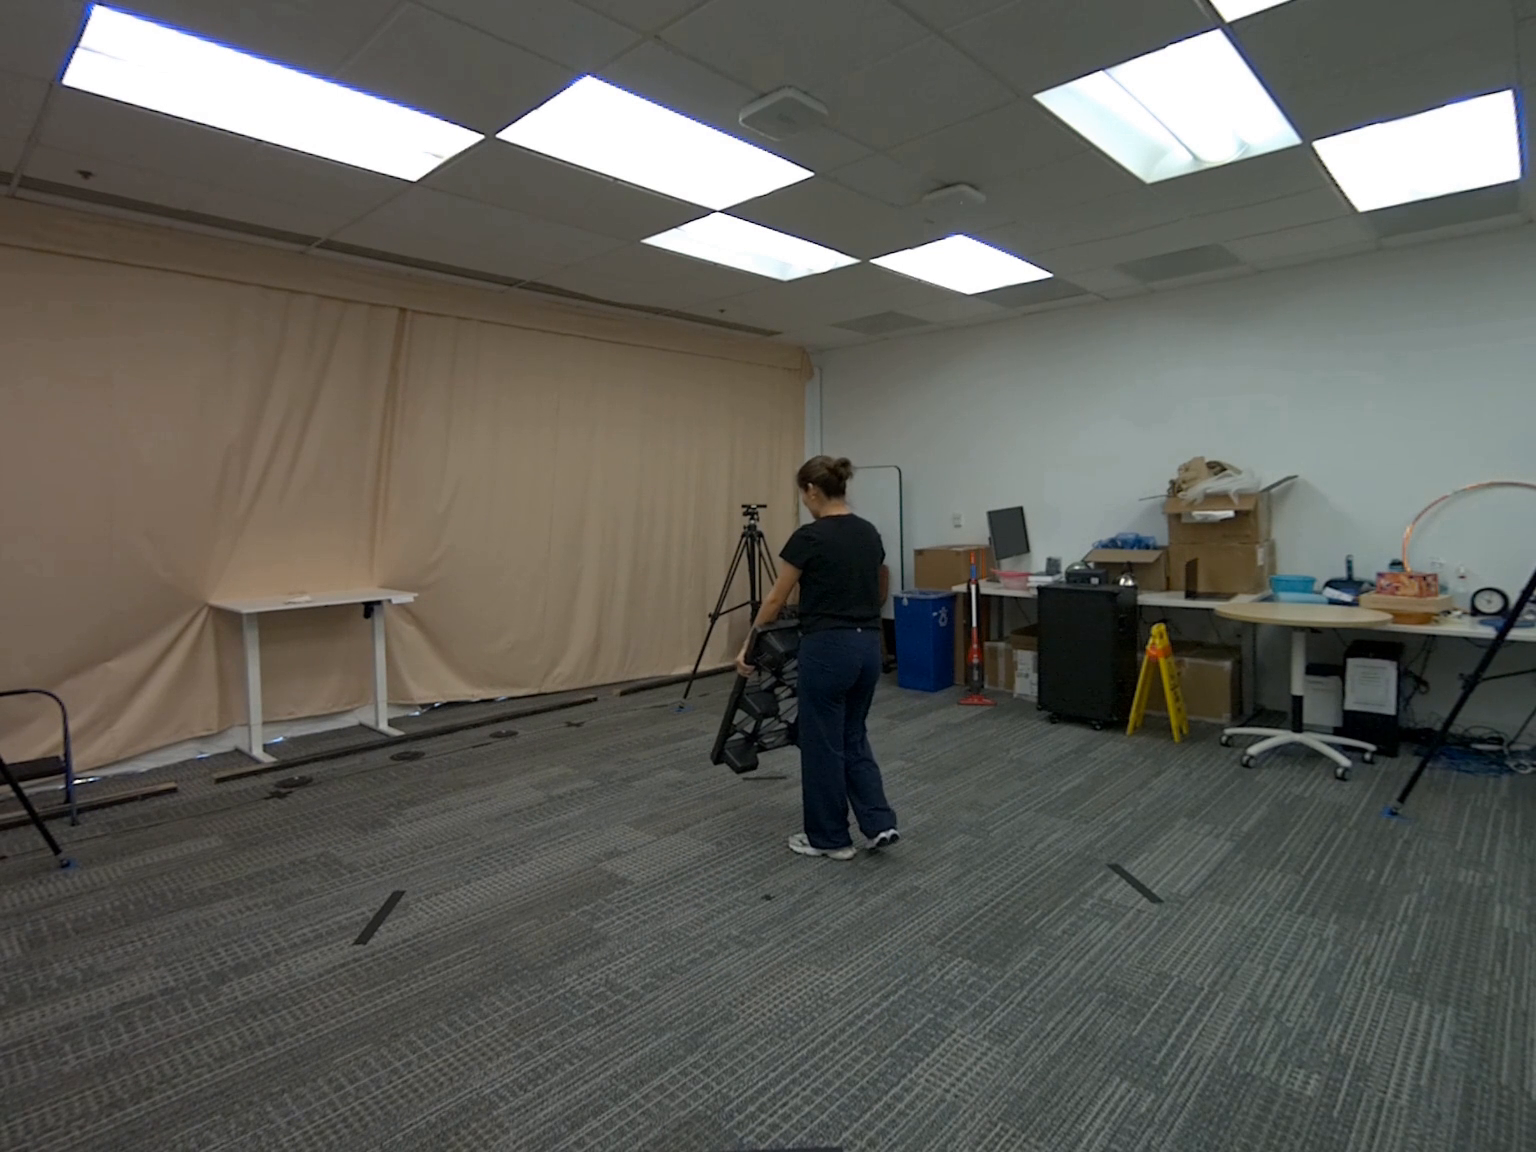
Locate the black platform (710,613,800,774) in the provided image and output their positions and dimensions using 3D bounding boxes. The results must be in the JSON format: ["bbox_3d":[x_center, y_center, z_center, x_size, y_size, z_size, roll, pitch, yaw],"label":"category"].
[{"bbox_3d":[0.129,0.502,3.577,0.590,0.799,0.148,-8,42,-31],"label":"black platform"}]
